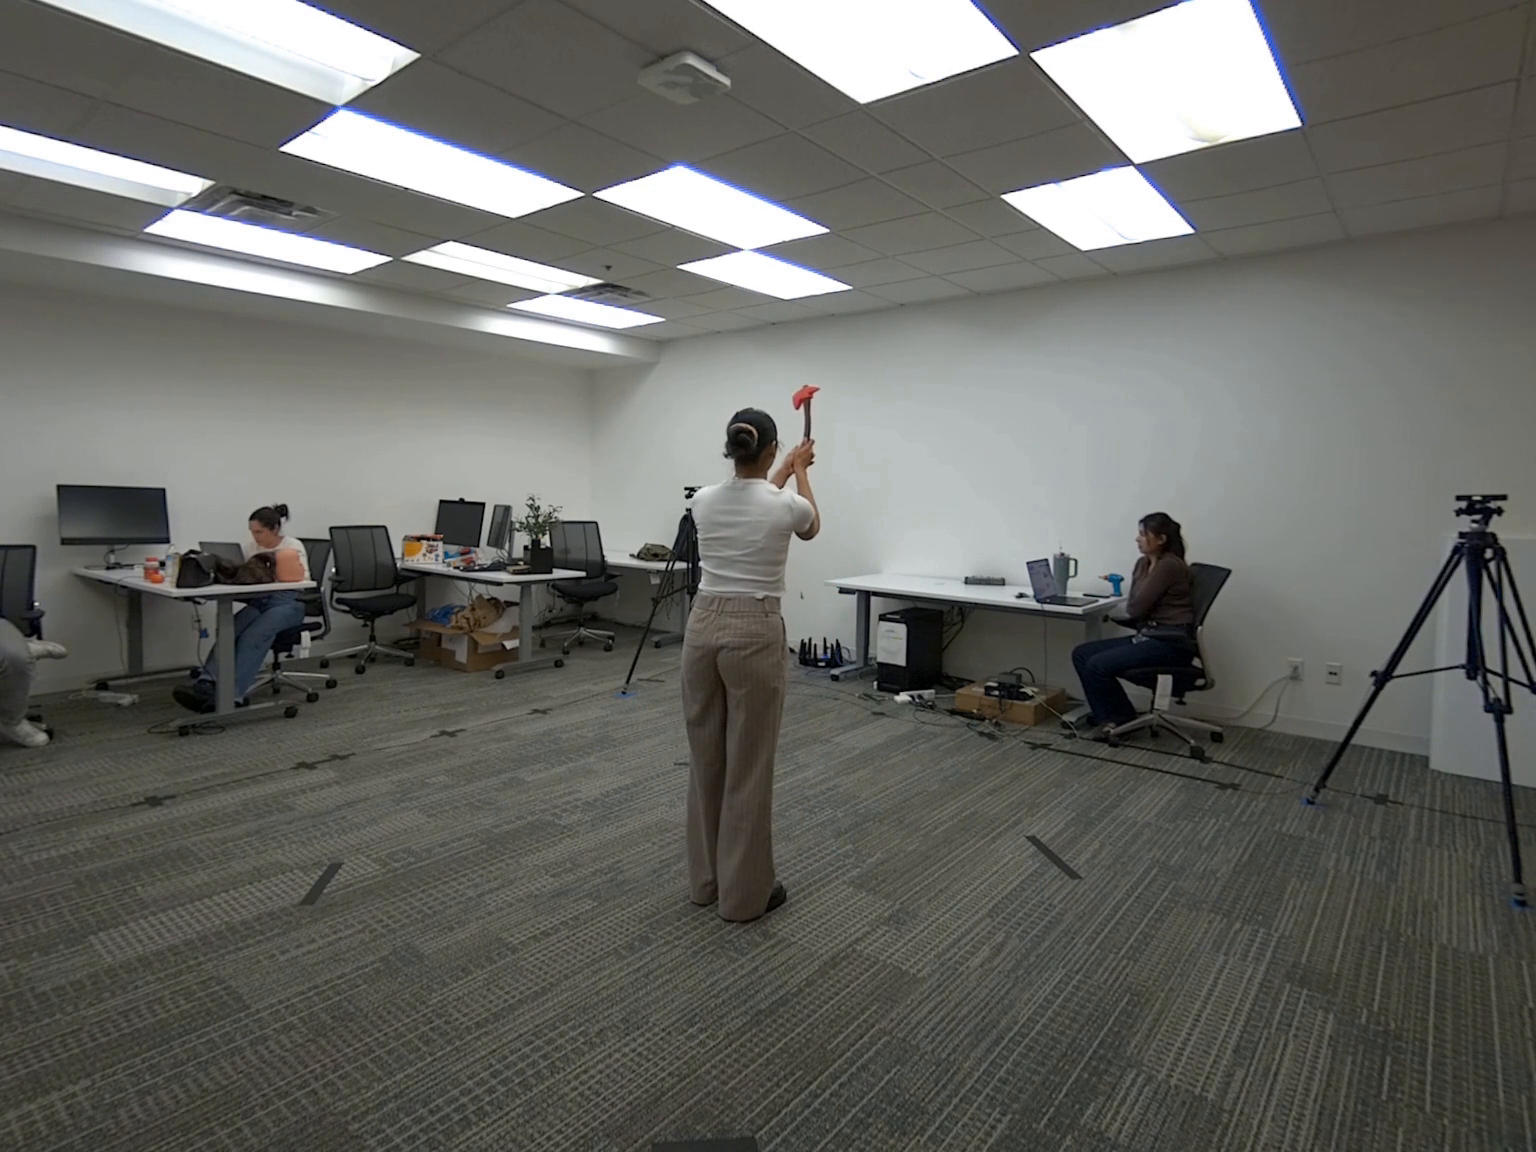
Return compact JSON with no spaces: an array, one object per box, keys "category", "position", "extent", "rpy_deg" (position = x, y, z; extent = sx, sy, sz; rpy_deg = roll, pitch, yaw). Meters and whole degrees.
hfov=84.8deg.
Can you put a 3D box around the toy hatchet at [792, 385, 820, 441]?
[{"category":"toy hatchet","position":[0.113,-0.584,3.161],"extent":[0.028,0.269,0.136],"rpy_deg":[10,3,-41]}]
